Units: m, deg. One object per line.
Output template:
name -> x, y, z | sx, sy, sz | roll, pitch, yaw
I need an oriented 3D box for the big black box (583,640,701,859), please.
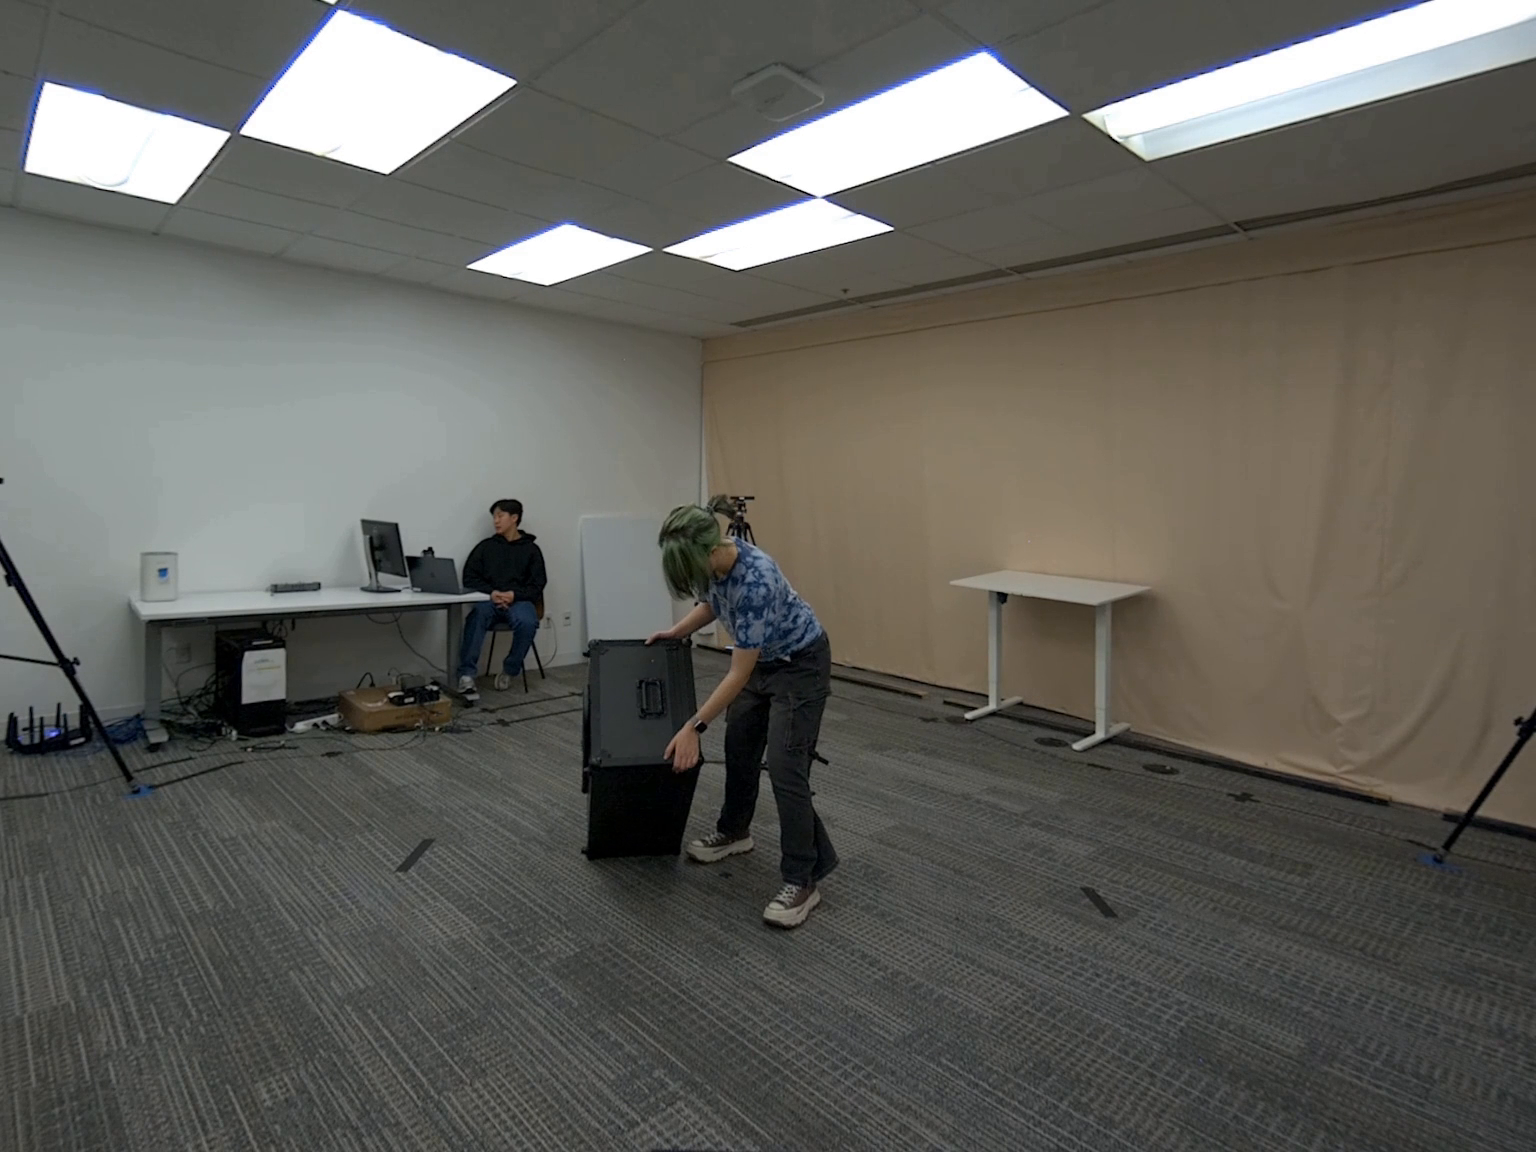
big black box -> -0.503, 0.676, 3.123 | 0.393, 0.534, 0.847 | -1, -39, -12
